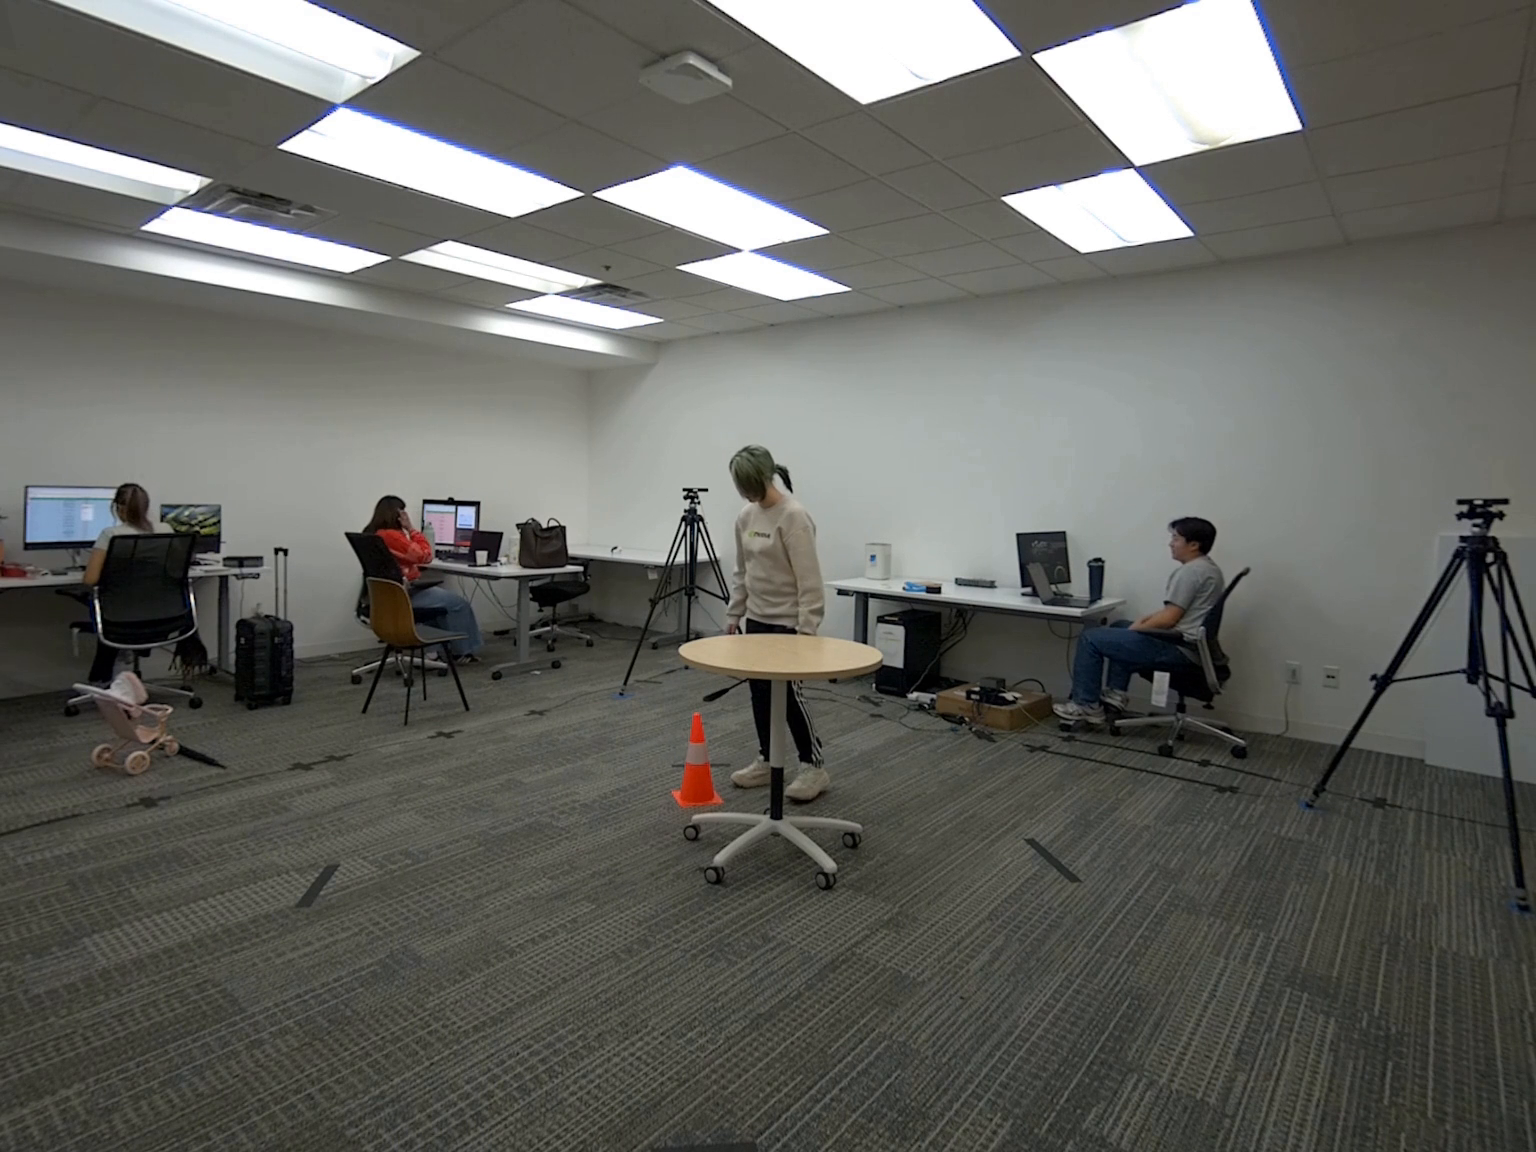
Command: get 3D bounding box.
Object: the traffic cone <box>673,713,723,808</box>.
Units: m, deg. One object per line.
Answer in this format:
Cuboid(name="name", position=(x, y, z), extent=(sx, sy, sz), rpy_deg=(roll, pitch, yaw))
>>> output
Cuboid(name="traffic cone", position=(-0.331, 0.813, 3.843), extent=(0.200, 0.383, 0.209), rpy_deg=(1, 2, -18))
